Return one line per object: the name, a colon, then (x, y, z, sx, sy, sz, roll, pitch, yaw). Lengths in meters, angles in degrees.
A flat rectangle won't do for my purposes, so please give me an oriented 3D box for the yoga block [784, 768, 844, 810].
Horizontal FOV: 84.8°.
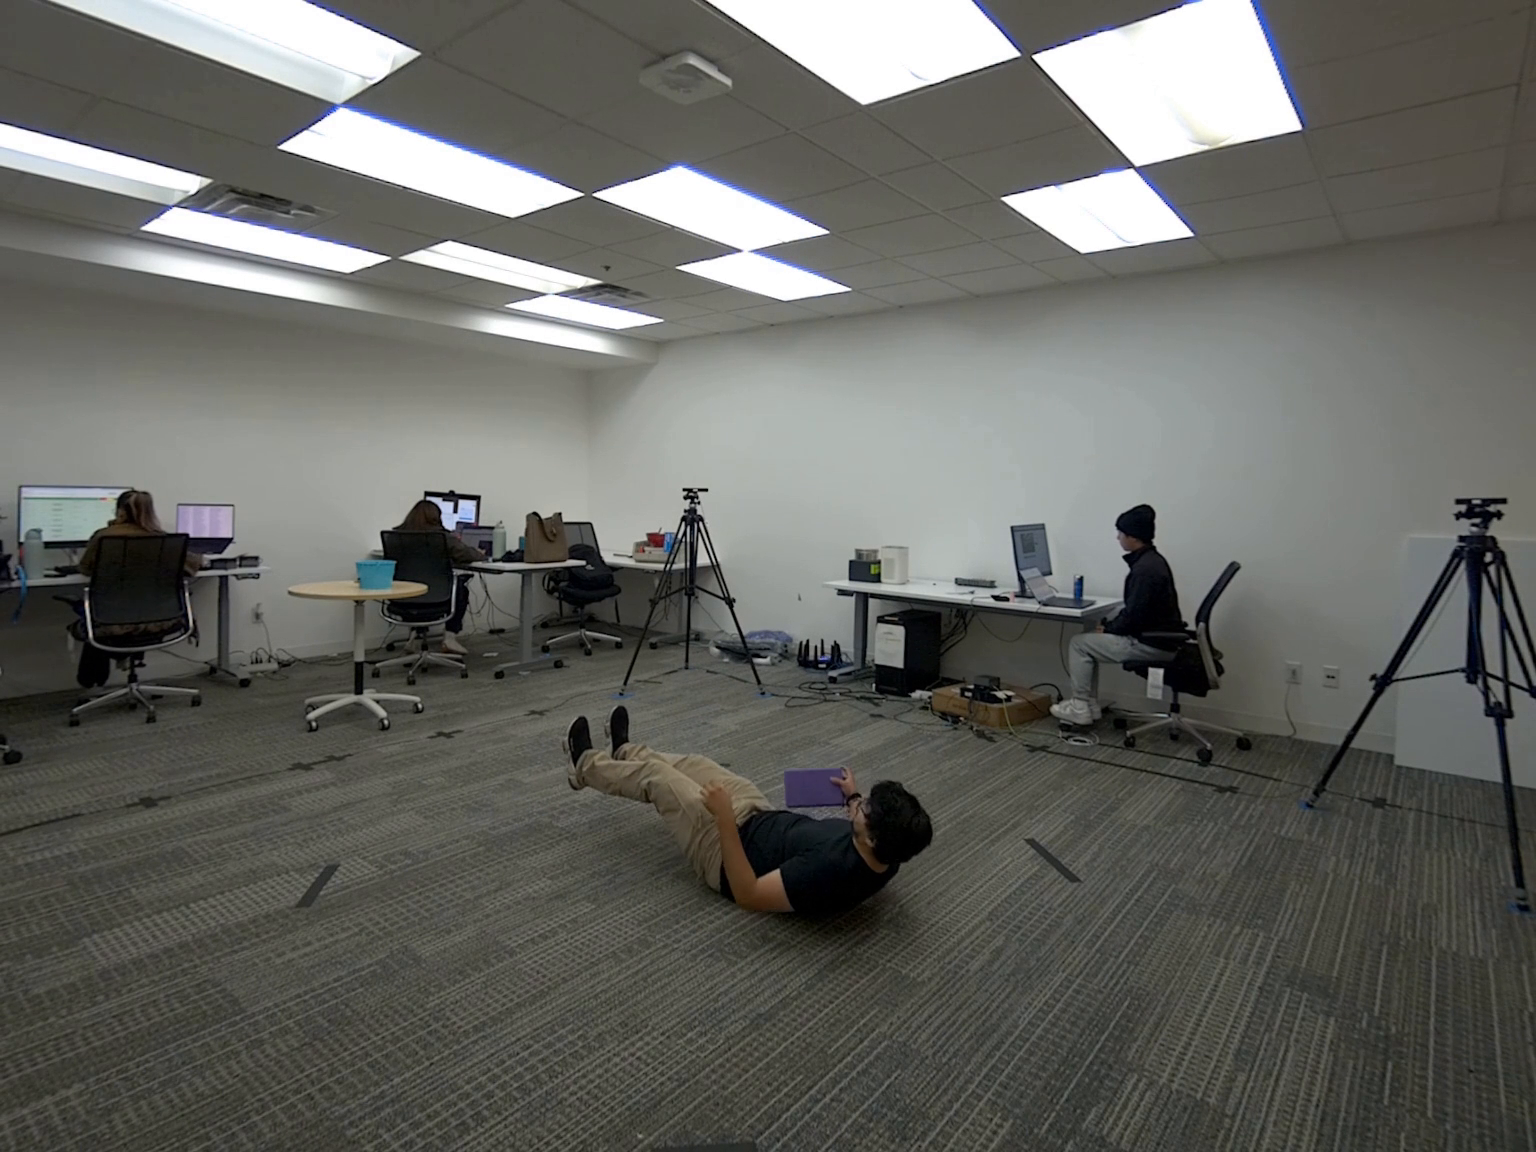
yoga block: (0.186, 0.840, 3.354, 0.230, 0.151, 0.075, -4, -16, 5)
